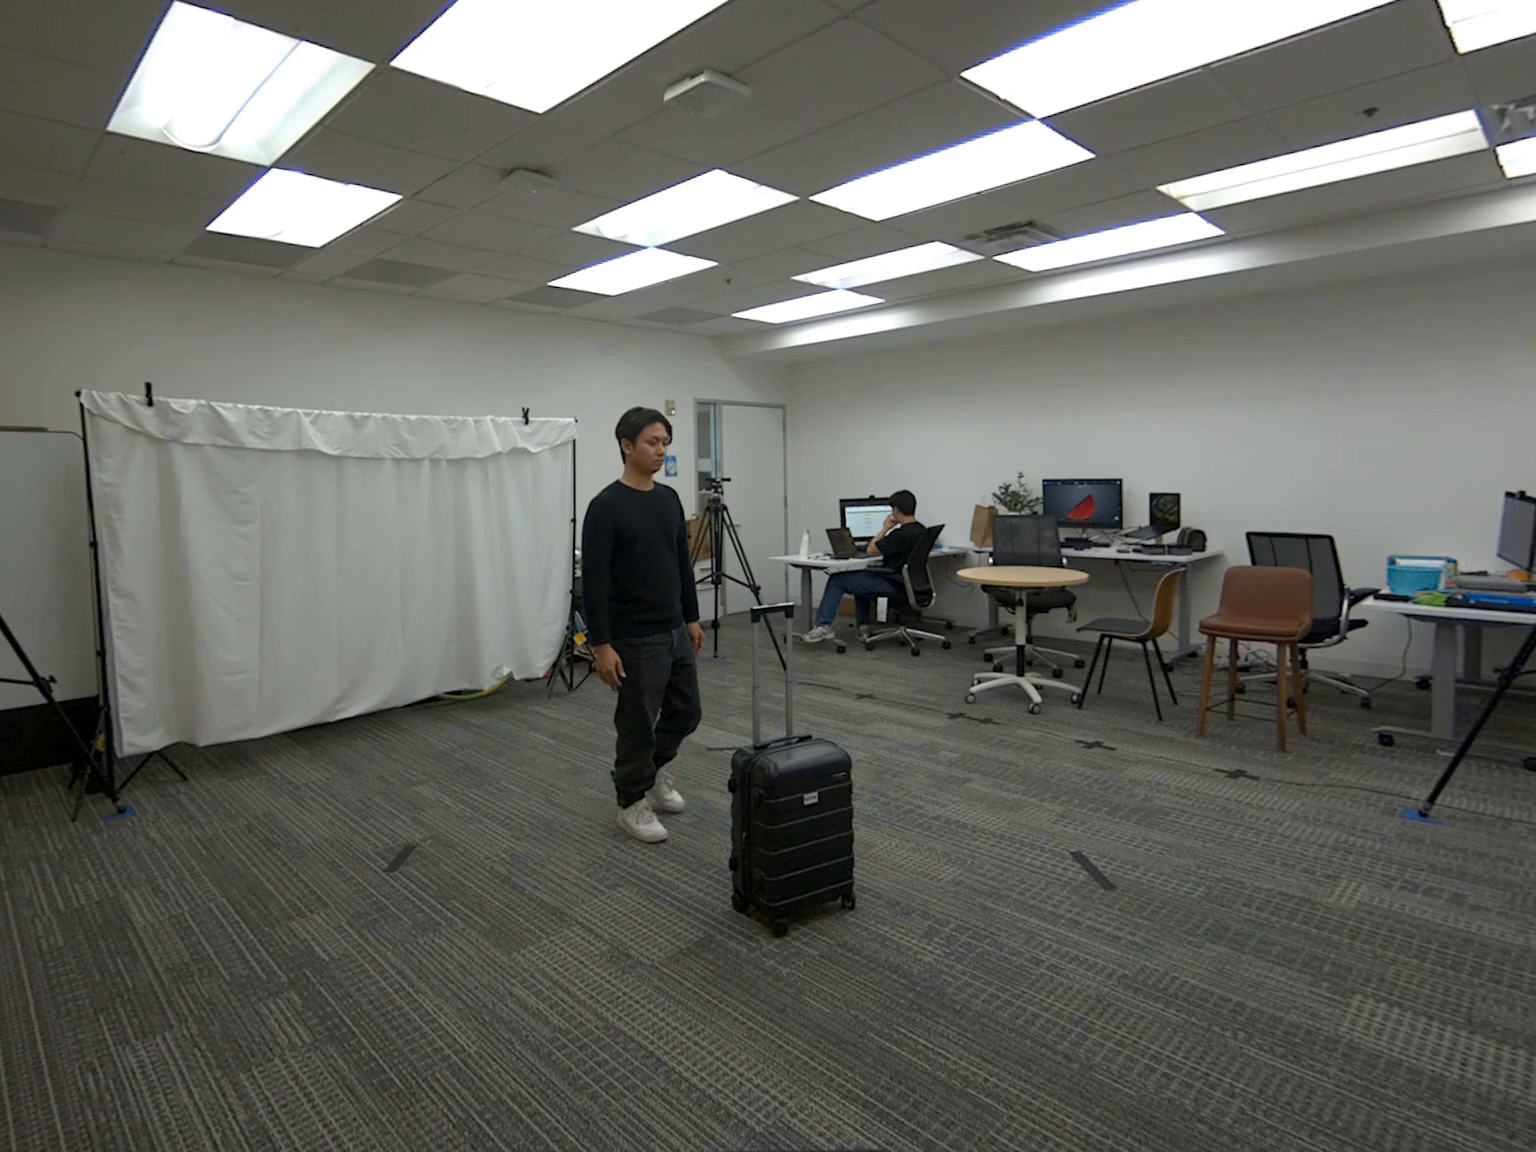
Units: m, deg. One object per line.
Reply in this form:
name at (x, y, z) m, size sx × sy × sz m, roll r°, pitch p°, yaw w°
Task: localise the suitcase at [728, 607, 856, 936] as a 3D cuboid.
suitcase at (0.080, 0.604, 2.733) m, size 0.375 × 0.972 × 0.265 m, roll -5°, pitch 8°, yaw -31°
